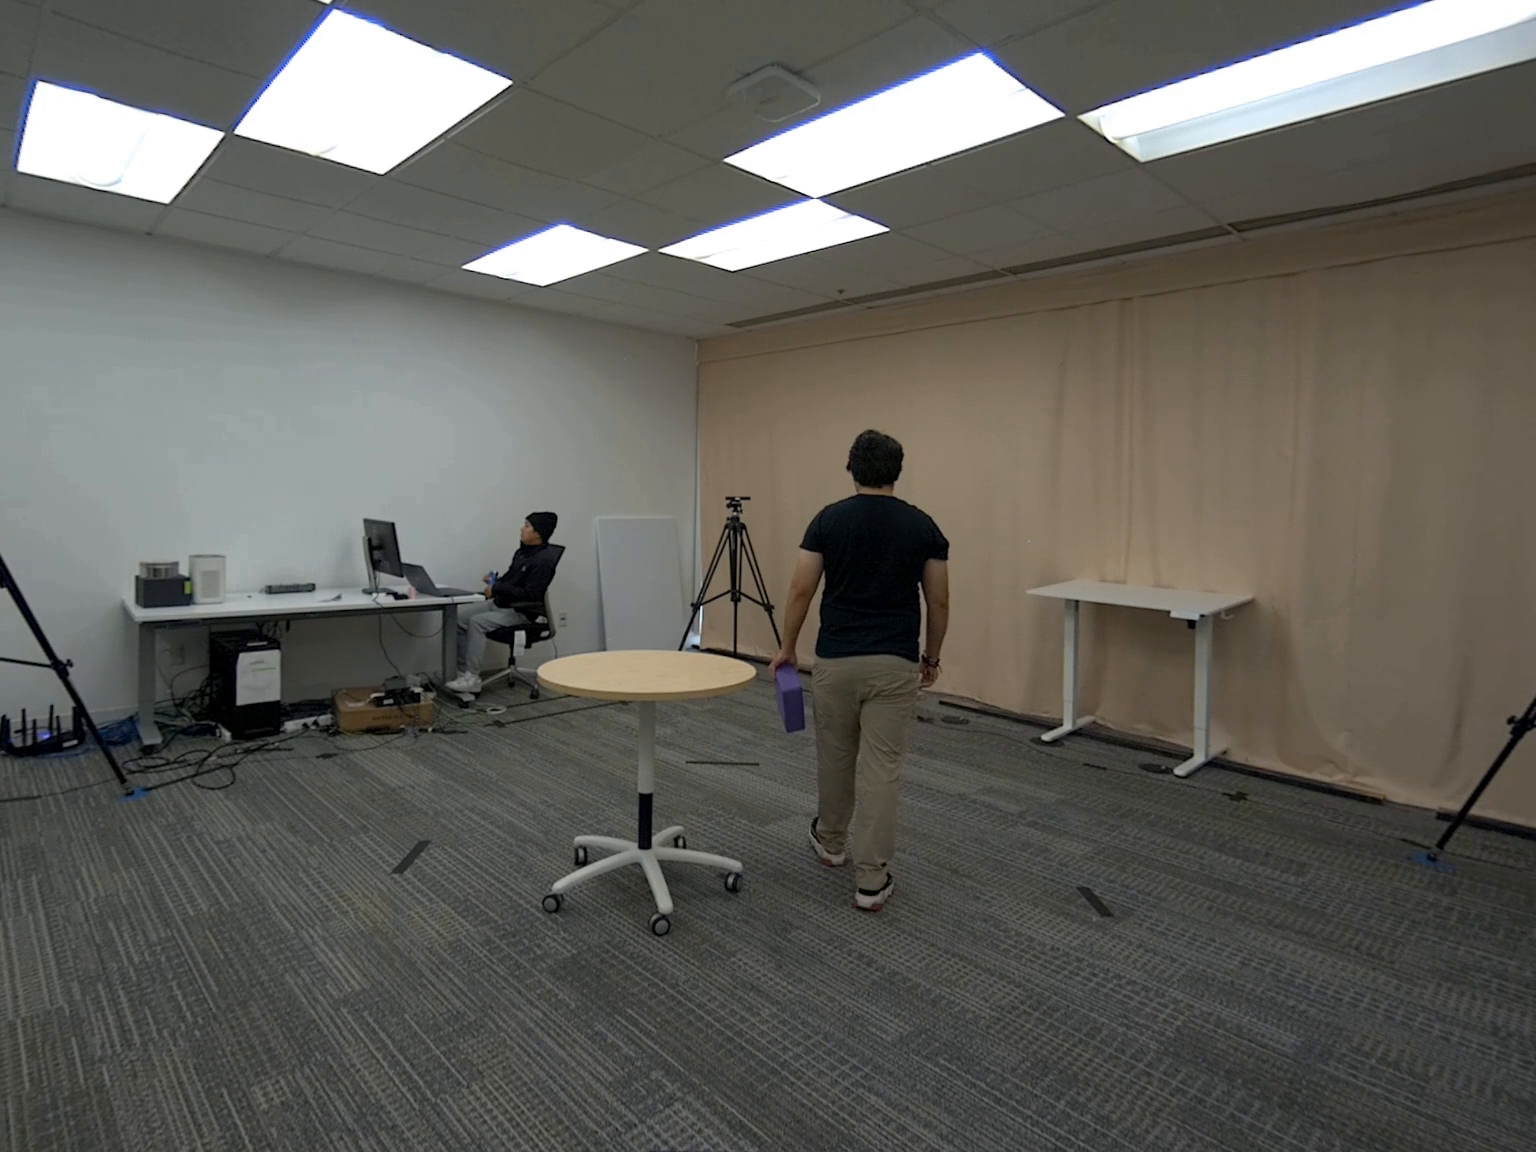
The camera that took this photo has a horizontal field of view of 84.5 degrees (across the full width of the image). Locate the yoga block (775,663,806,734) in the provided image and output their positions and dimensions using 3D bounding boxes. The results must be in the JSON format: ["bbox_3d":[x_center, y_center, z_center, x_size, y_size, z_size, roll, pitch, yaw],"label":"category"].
[{"bbox_3d":[0.072,0.456,3.218,0.076,0.224,0.153,-12,35,-8],"label":"yoga block"}]
